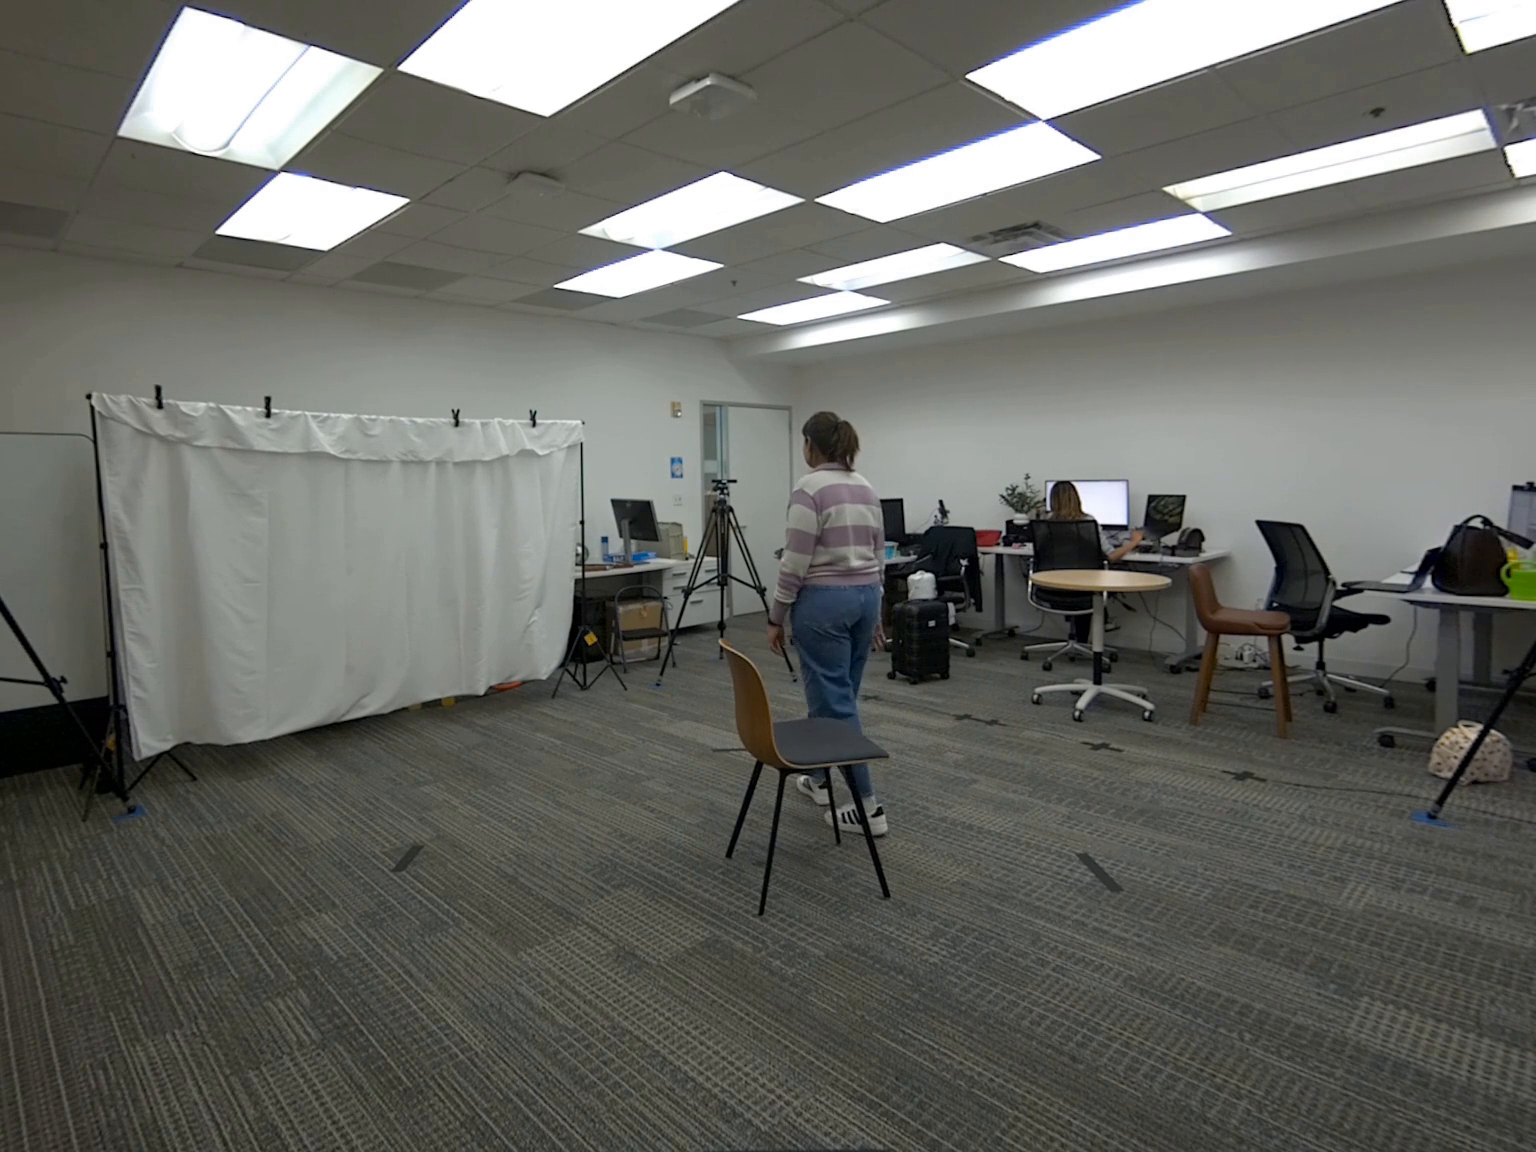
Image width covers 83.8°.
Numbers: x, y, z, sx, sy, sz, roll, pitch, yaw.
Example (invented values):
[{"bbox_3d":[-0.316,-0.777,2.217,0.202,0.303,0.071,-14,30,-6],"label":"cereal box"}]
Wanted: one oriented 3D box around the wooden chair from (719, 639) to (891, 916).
[{"bbox_3d":[0.128,0.633,2.972,0.516,0.873,0.486,-6,5,-15],"label":"wooden chair"}]
